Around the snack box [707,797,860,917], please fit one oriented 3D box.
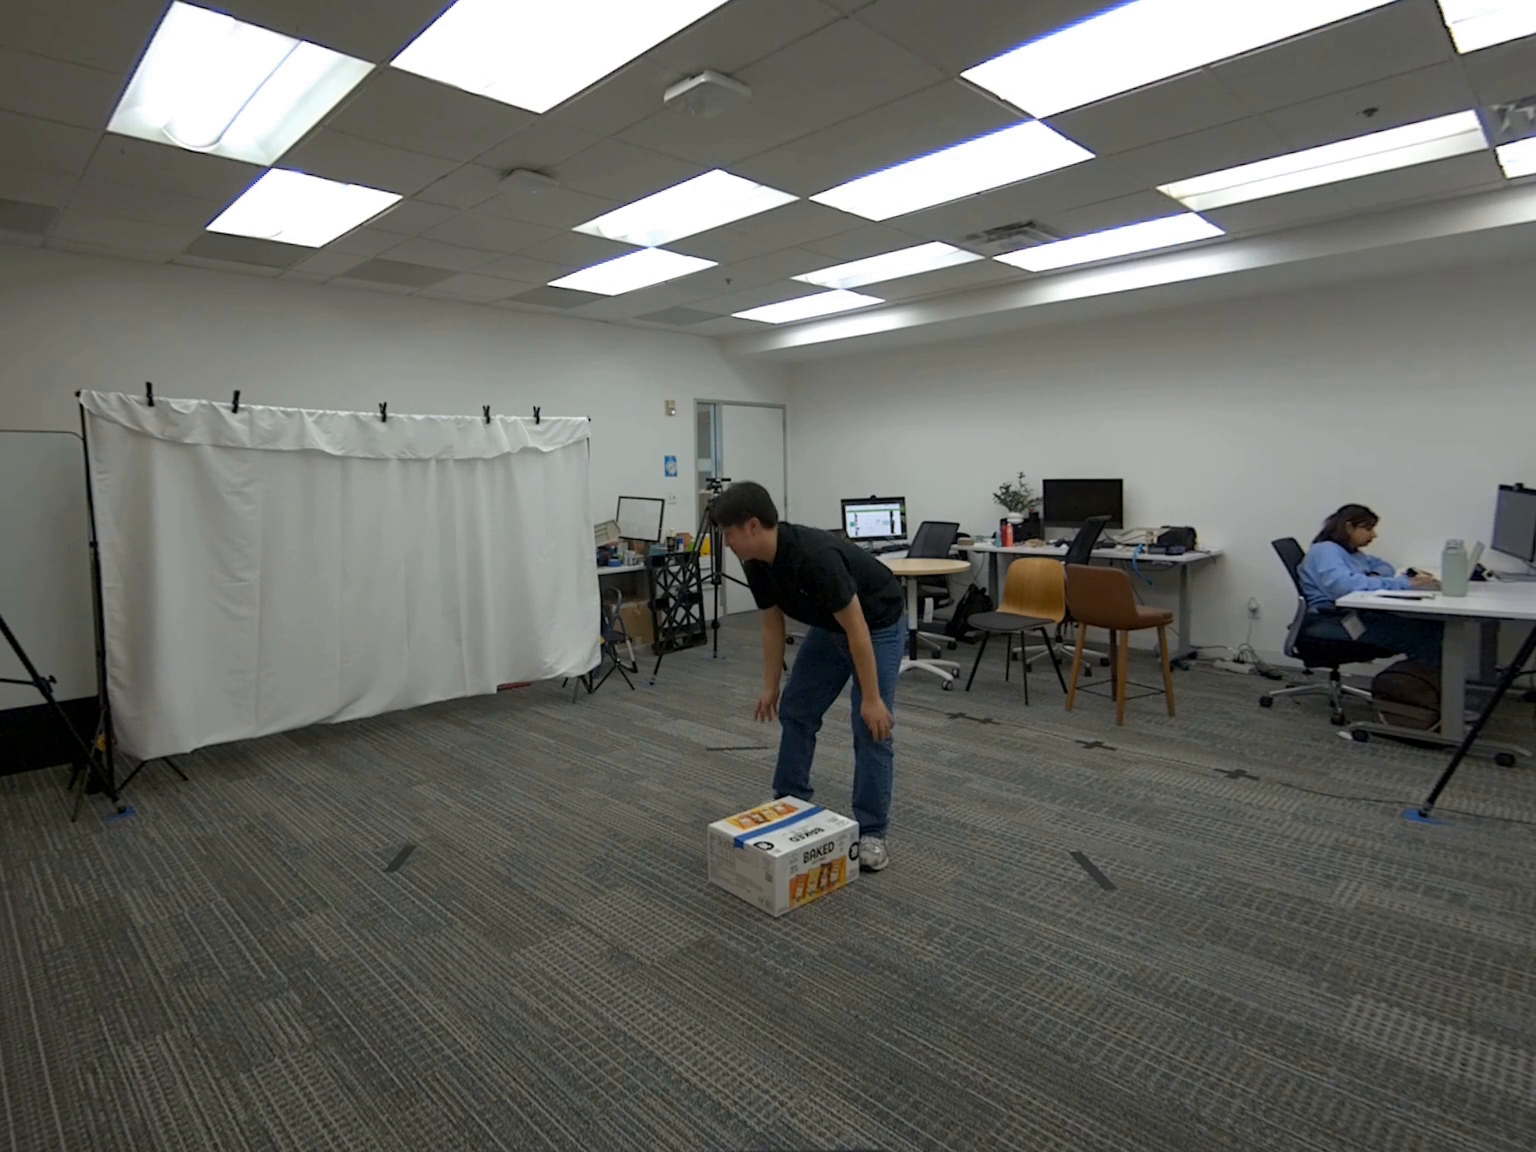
[{"bbox_3d":[0.056,0.957,2.955,0.394,0.205,0.351,-6,8,-42],"label":"snack box"}]
